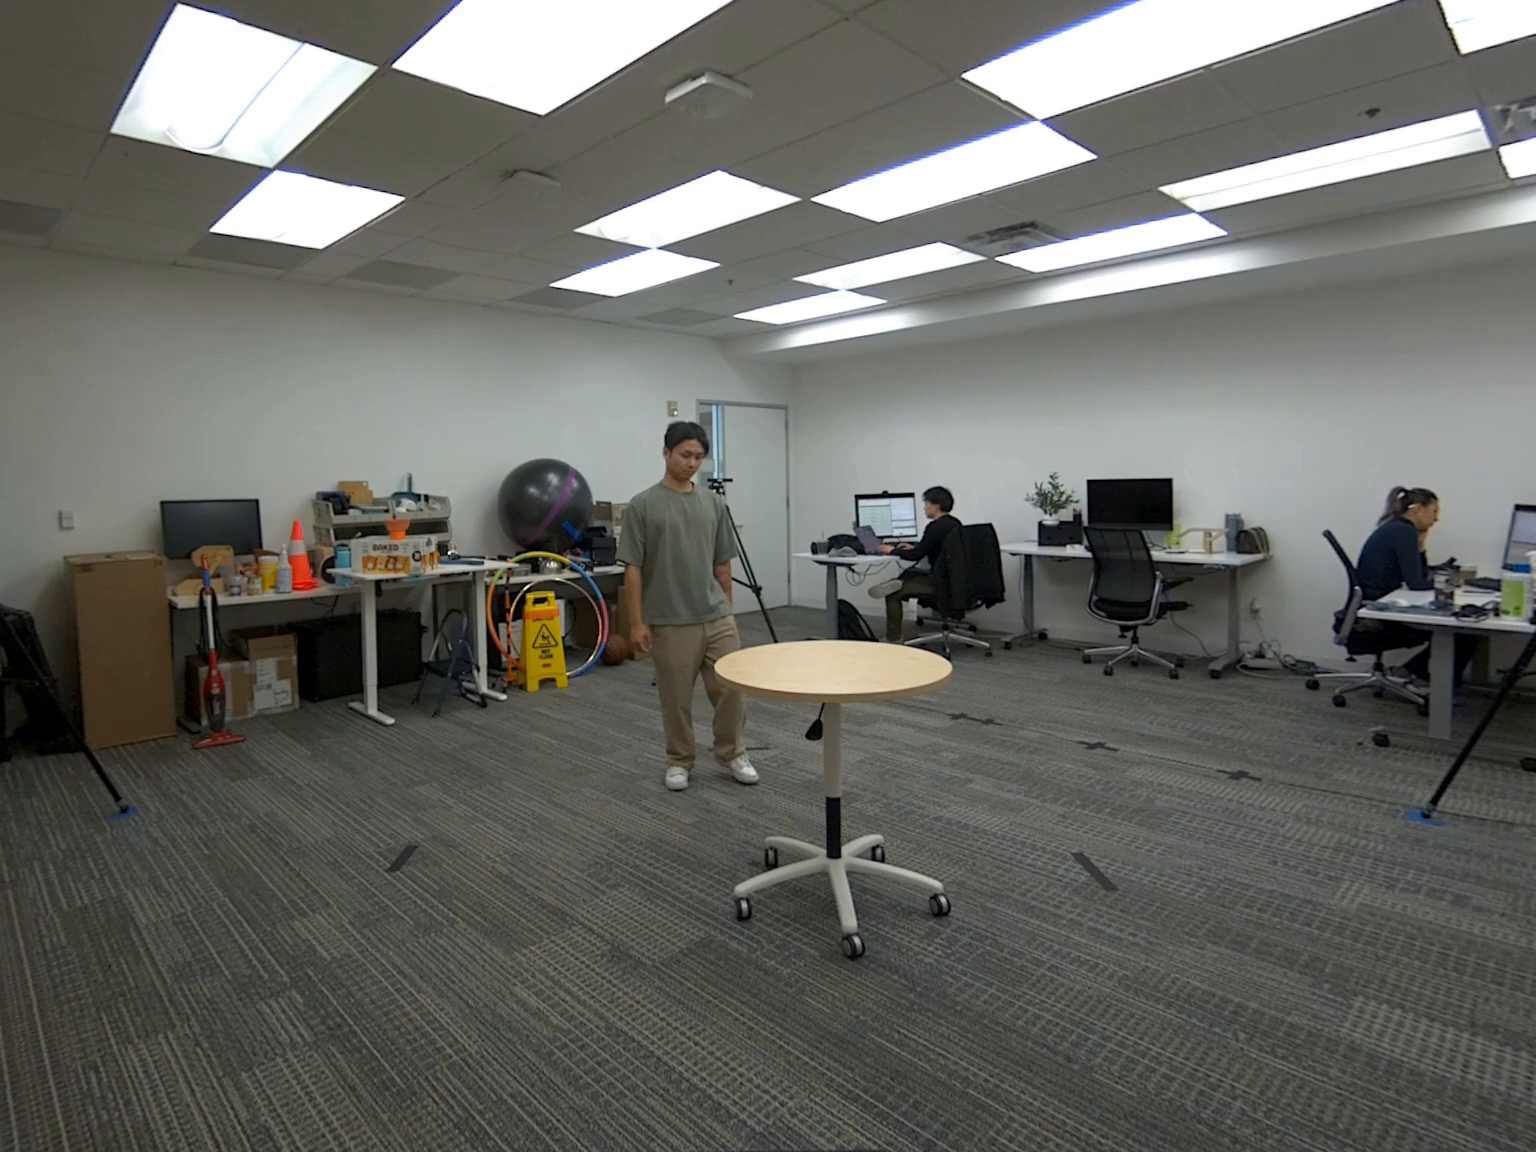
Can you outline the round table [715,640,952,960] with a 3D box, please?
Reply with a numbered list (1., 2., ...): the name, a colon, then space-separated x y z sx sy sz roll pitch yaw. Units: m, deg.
1. round table: 0.233 0.676 2.827 0.784 0.783 0.789 -1 5 -2
